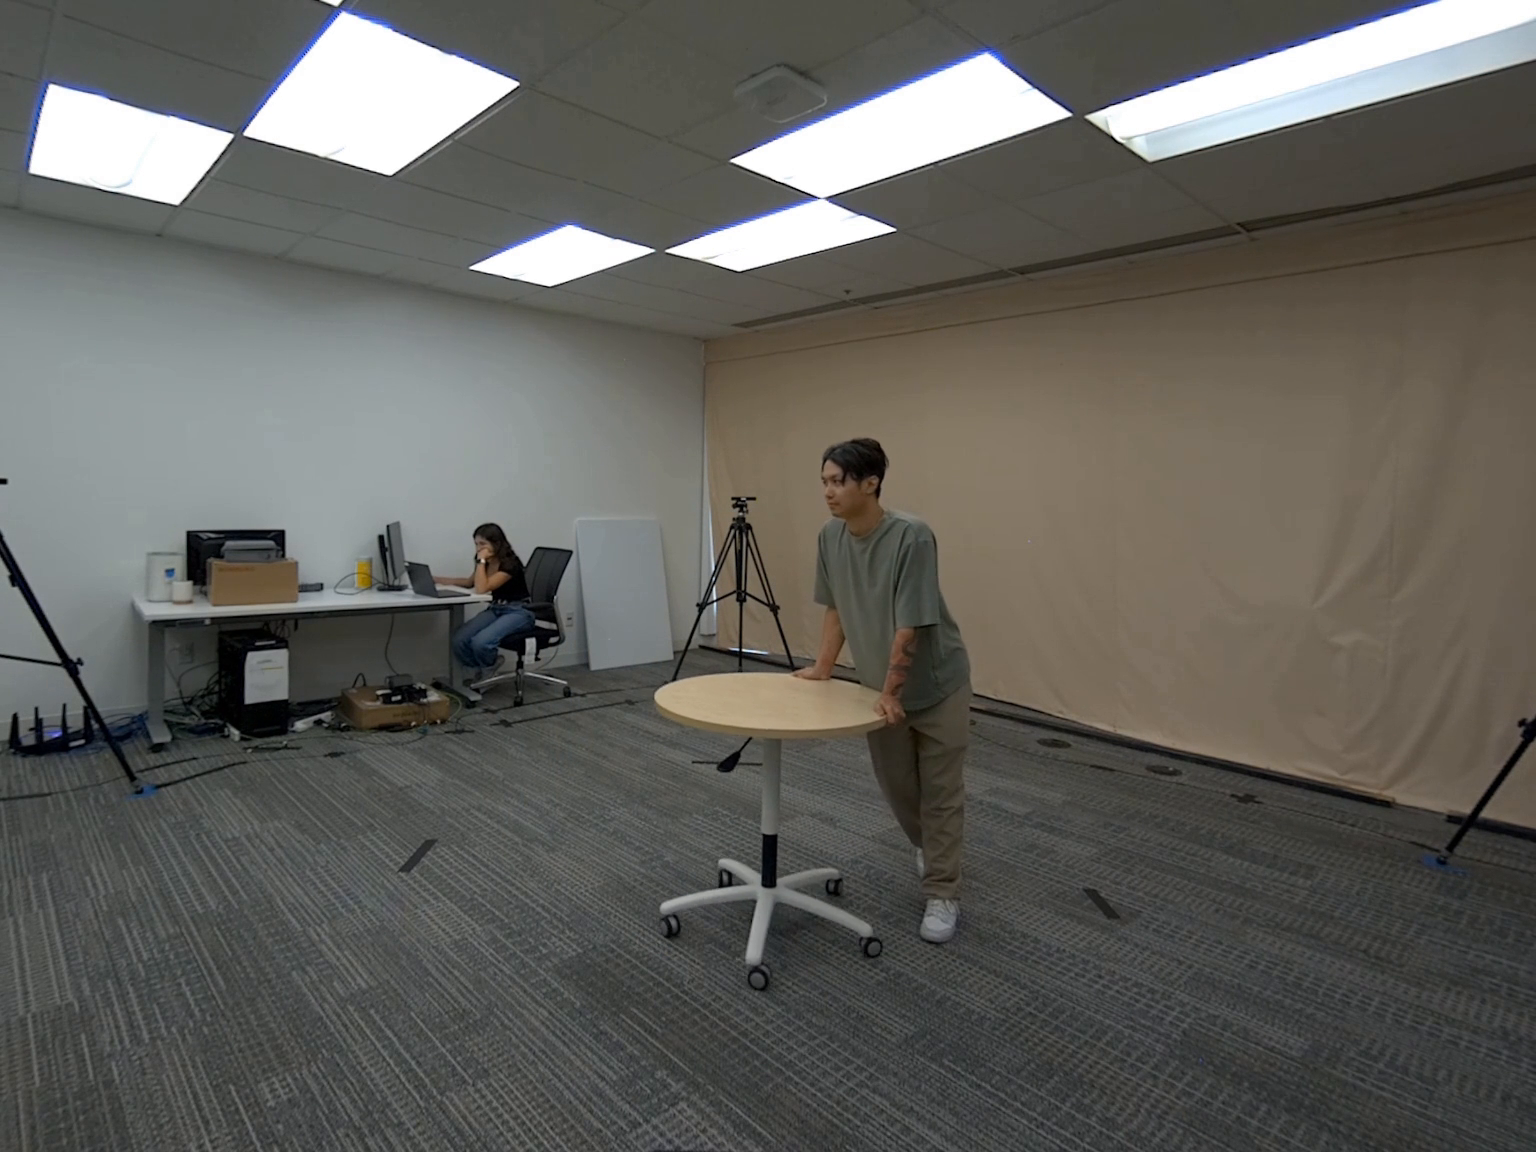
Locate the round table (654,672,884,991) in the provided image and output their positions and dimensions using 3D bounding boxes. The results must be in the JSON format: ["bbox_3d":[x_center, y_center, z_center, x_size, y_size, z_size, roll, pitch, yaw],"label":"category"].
[{"bbox_3d":[0.009,0.763,2.735,0.784,0.784,0.788,2,5,-1],"label":"round table"}]
